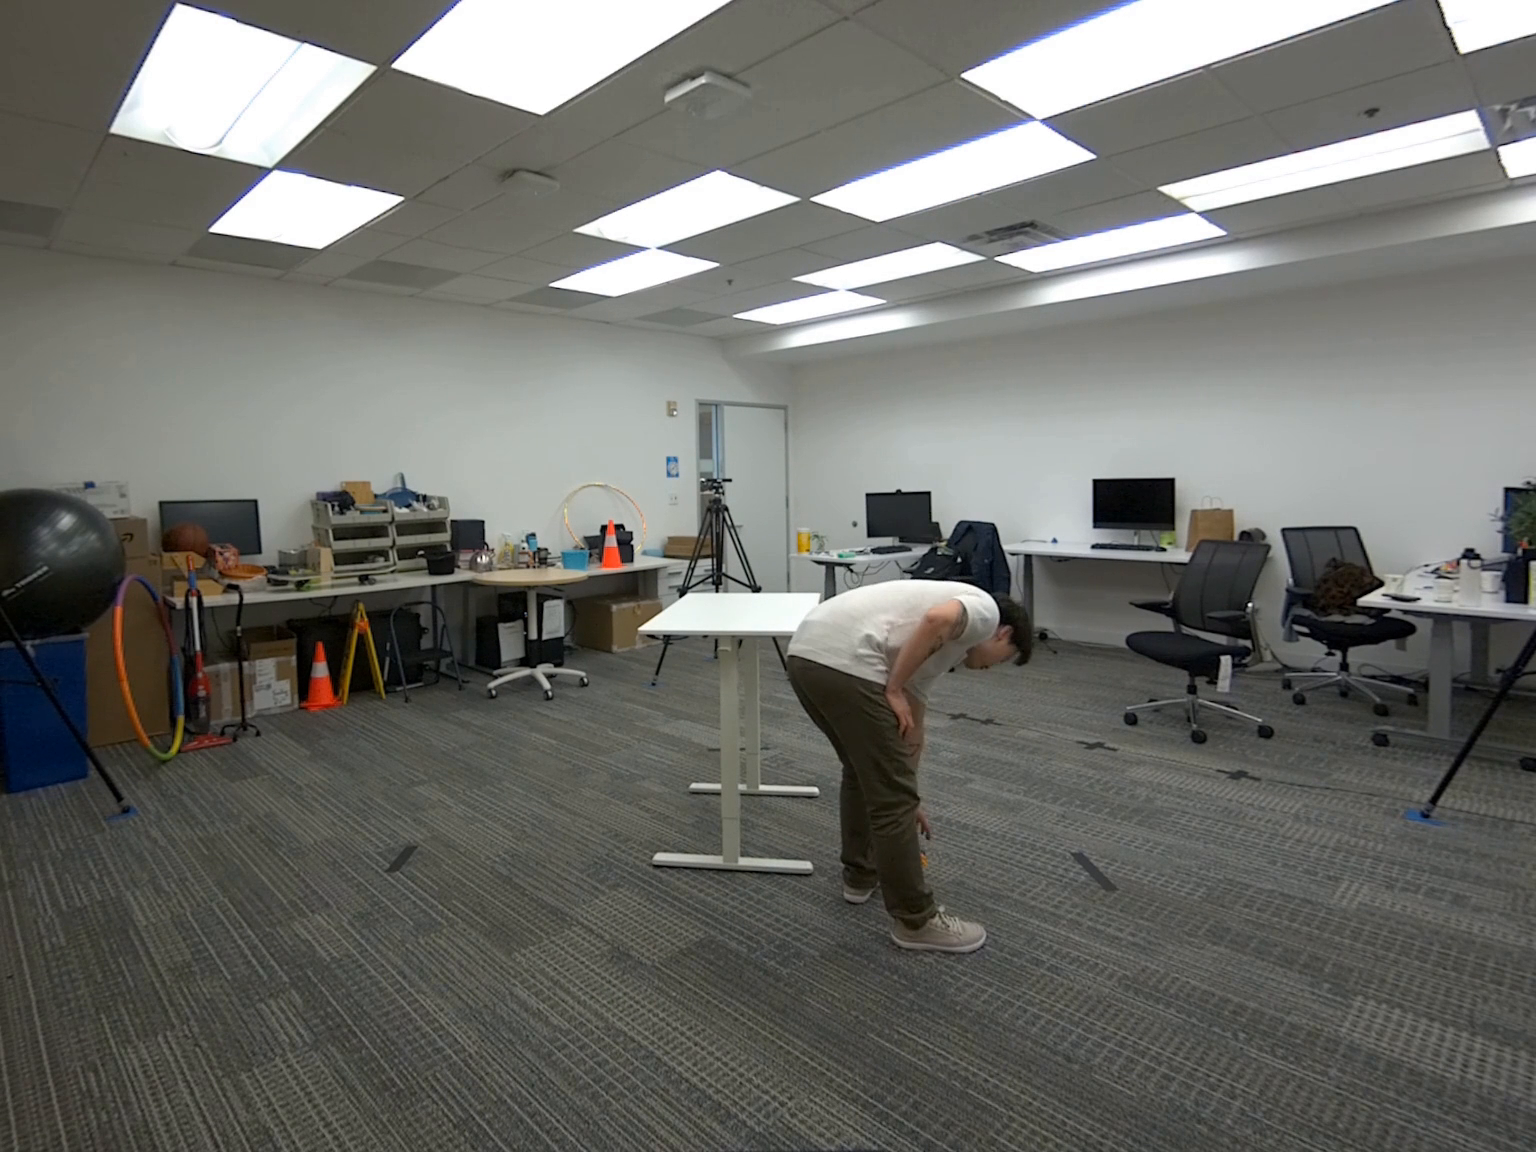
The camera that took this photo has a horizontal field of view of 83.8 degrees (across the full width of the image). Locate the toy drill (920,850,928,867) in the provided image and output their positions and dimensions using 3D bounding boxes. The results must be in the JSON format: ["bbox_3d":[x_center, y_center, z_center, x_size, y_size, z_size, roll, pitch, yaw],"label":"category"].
[{"bbox_3d":[0.518,0.992,2.898,0.061,0.145,0.171,-2,6,-5],"label":"toy drill"}]
